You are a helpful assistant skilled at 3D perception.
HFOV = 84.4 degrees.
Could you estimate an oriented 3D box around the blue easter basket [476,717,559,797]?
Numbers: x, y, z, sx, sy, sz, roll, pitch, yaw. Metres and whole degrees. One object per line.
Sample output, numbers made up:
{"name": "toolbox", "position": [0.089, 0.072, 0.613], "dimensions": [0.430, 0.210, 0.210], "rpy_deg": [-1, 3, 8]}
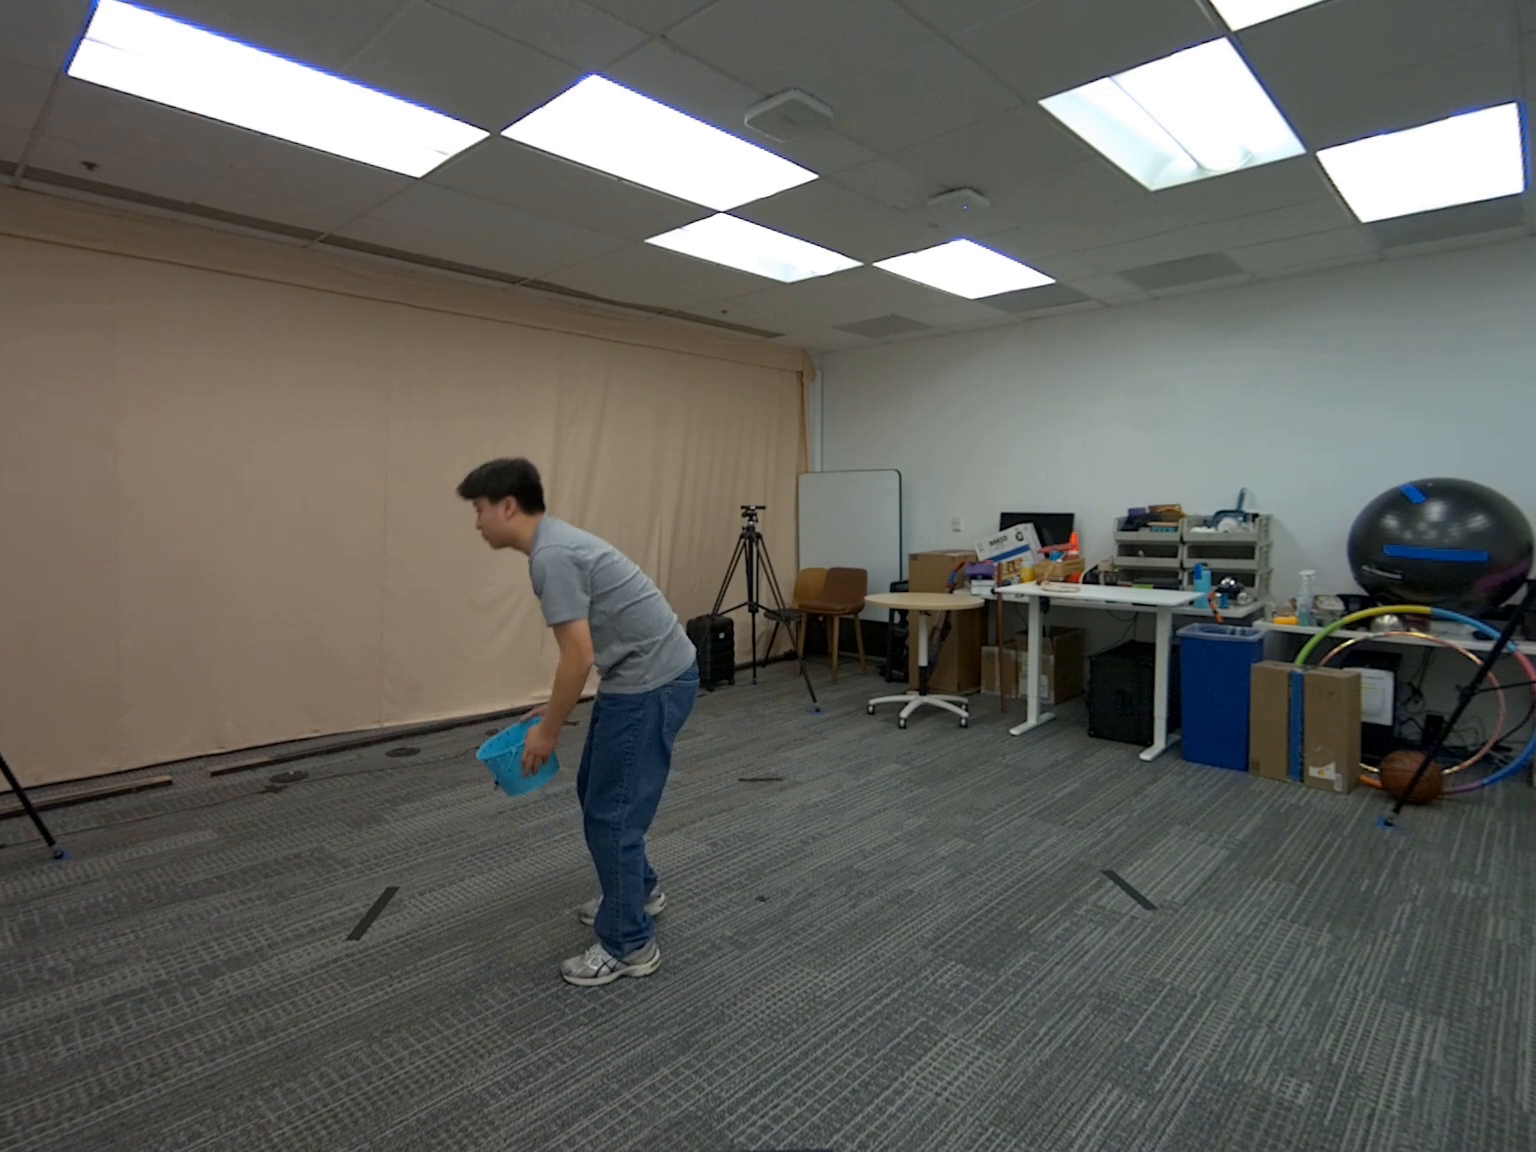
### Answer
{"name": "blue easter basket", "position": [-0.760, 0.577, 2.596], "dimensions": [0.244, 0.155, 0.245], "rpy_deg": [-20, 8, 1]}
